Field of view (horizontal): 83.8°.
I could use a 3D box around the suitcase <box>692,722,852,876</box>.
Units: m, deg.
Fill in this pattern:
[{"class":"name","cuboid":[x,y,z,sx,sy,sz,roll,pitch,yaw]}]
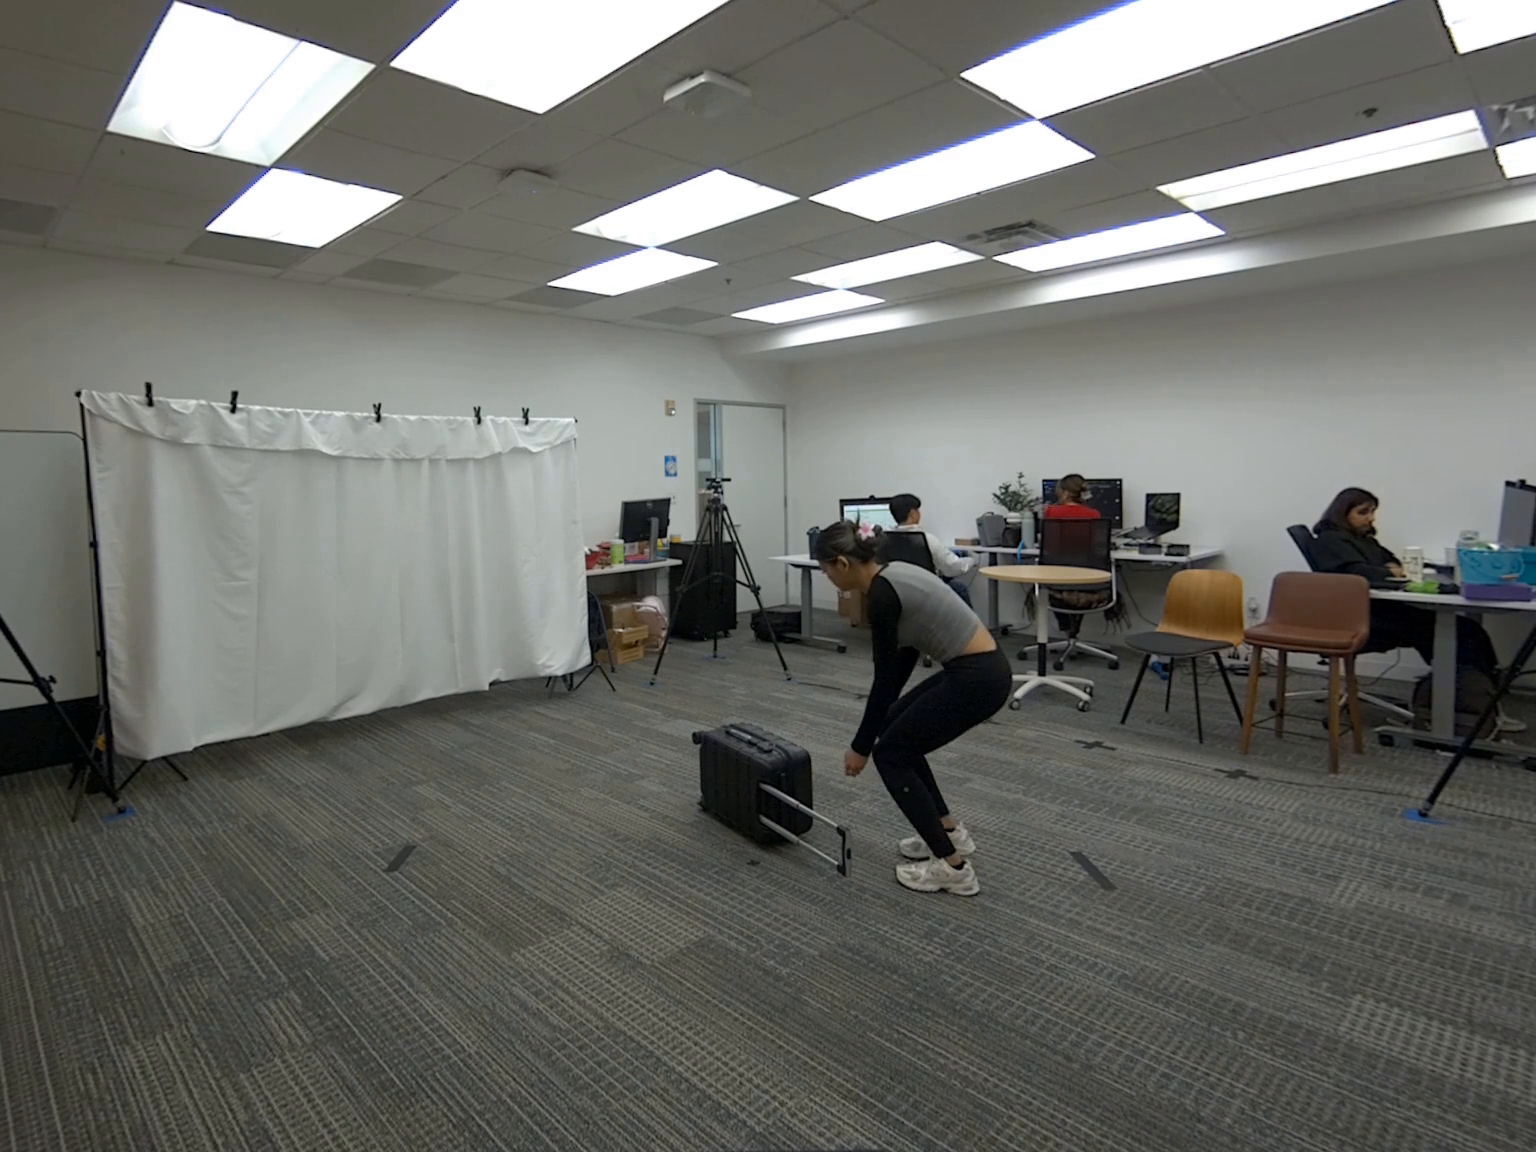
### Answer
[{"class":"suitcase","cuboid":[0.062,0.839,3.259,0.251,0.382,1.007,-5,7,-34]}]
